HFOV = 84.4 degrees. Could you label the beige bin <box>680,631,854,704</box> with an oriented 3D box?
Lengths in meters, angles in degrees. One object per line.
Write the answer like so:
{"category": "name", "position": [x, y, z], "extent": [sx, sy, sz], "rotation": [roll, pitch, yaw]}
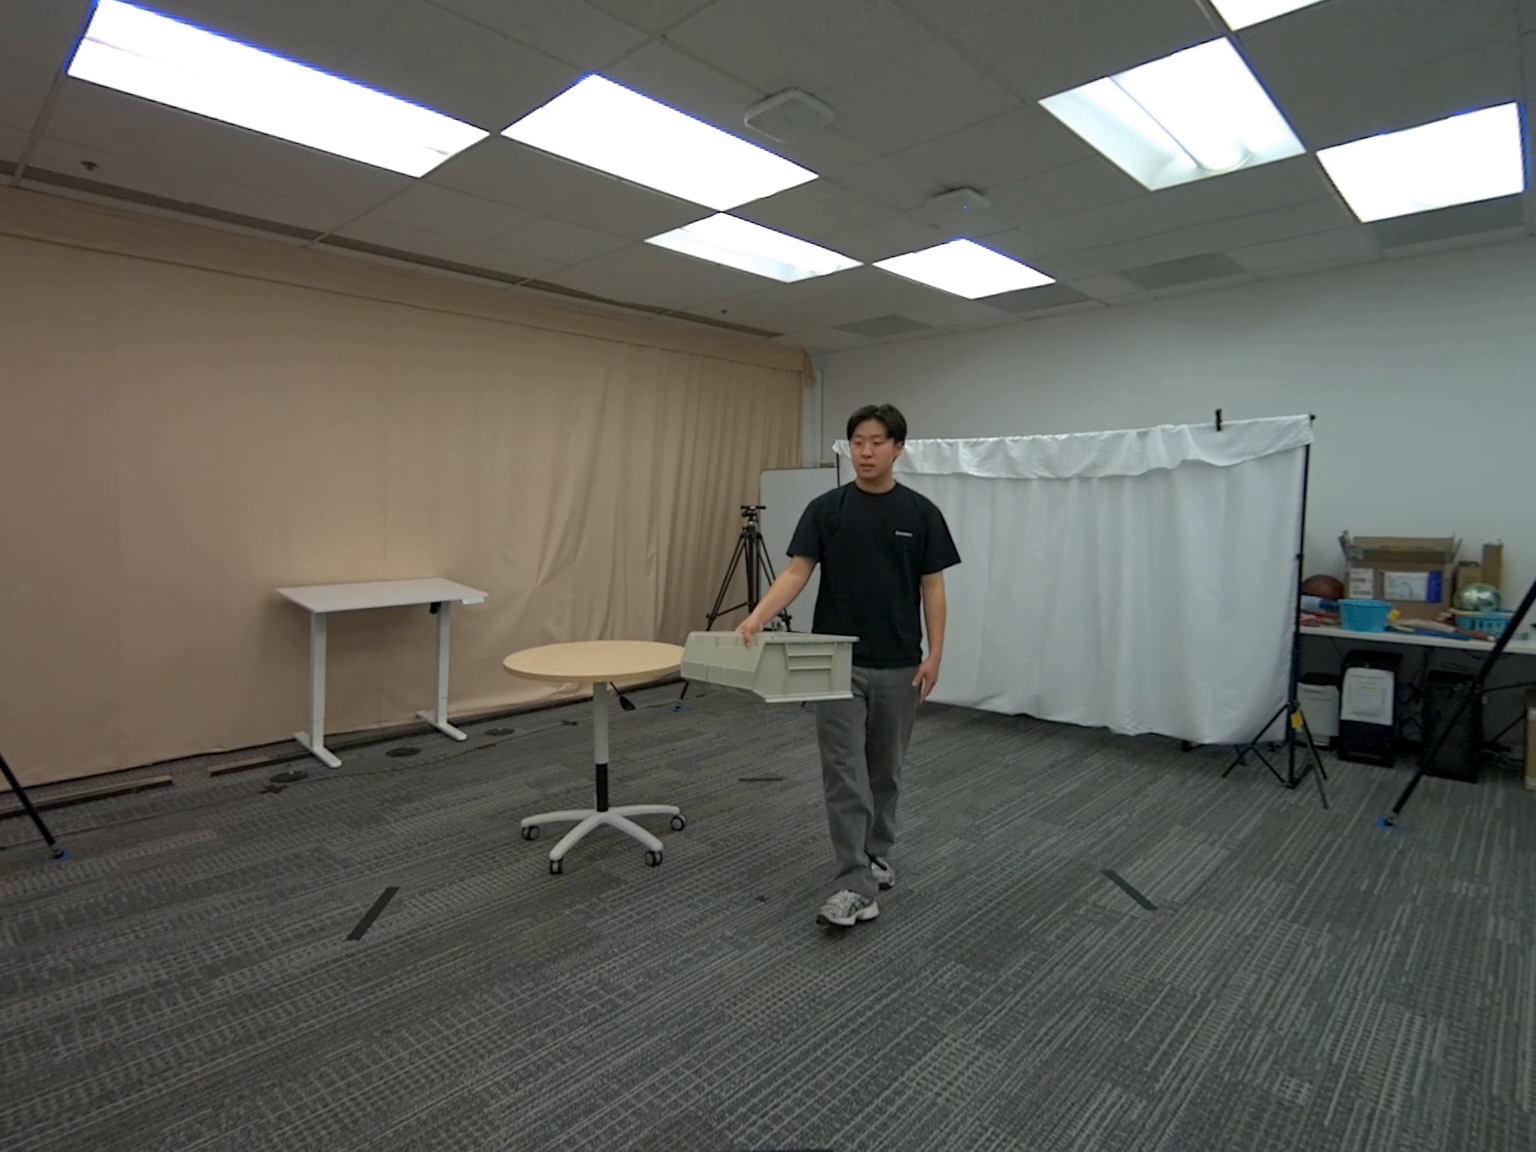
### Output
{"category": "beige bin", "position": [-0.004, 0.275, 2.590], "extent": [0.366, 0.189, 0.434], "rotation": [4, -4, -34]}
